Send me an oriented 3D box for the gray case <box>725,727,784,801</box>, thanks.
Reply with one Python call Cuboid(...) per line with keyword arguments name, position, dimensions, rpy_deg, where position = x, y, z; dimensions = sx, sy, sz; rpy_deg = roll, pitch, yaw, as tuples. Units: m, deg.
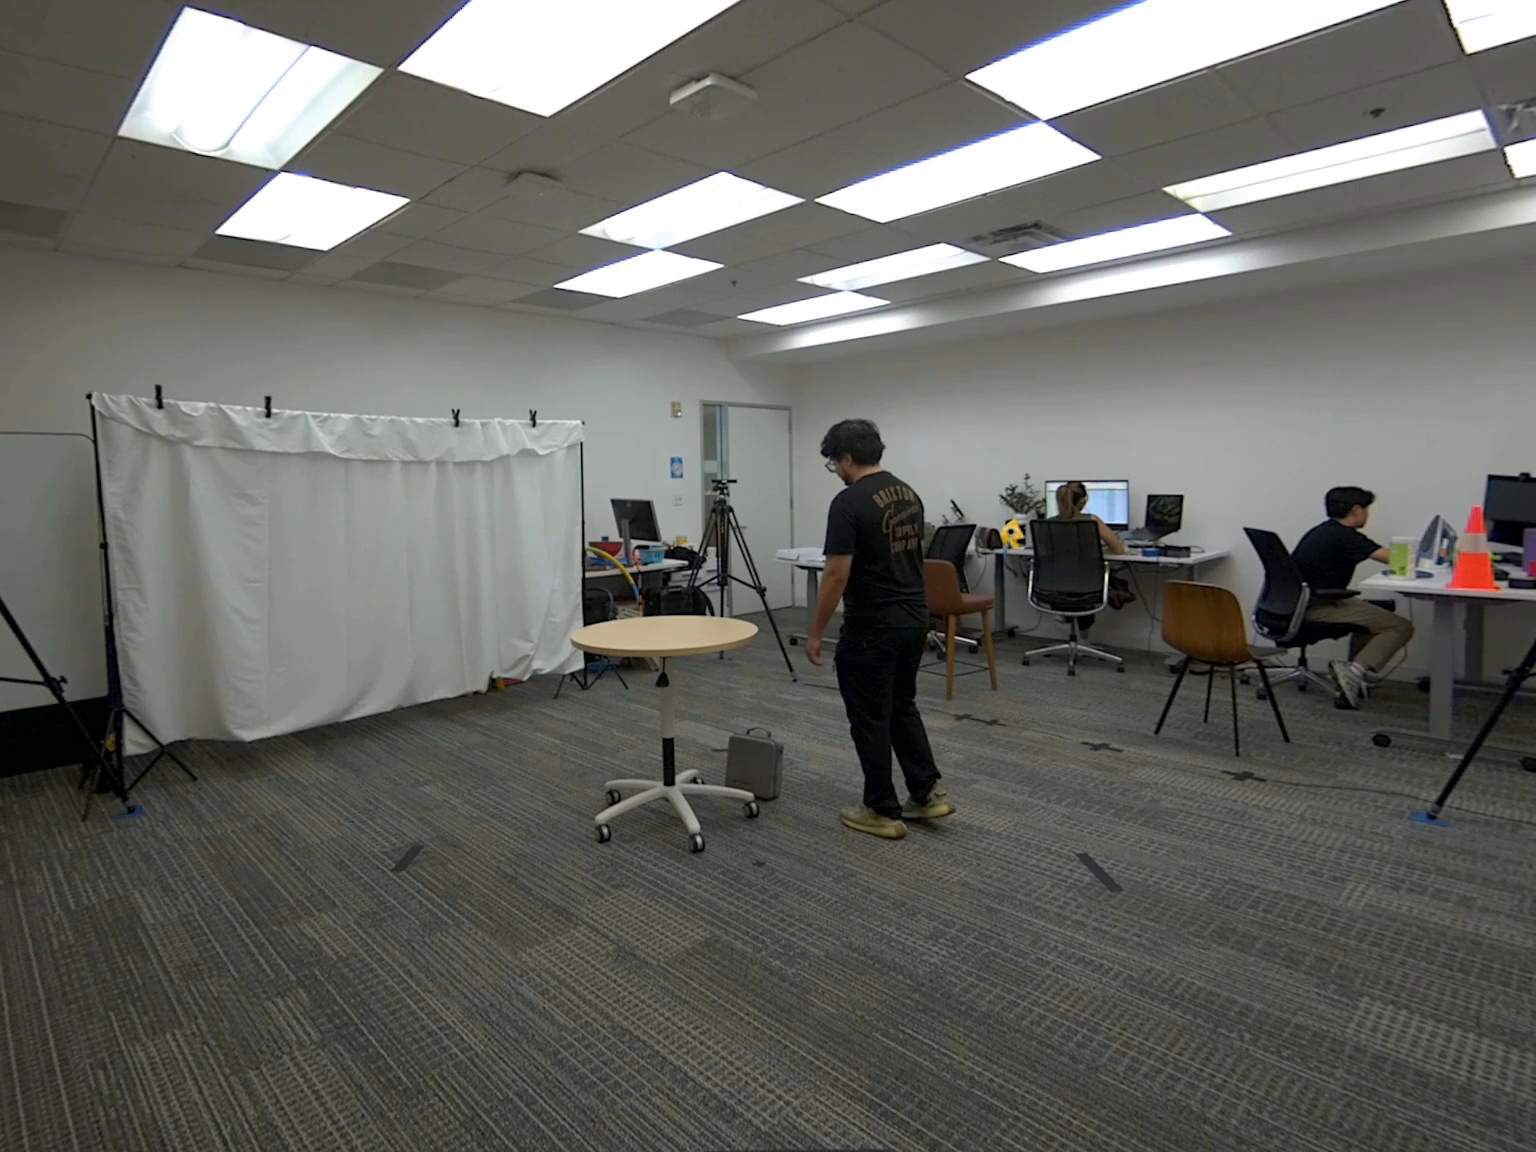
Cuboid(name="gray case", position=(-0.058, 0.838, 3.814), dimensions=(0.264, 0.261, 0.101), rpy_deg=(2, -4, 36))
